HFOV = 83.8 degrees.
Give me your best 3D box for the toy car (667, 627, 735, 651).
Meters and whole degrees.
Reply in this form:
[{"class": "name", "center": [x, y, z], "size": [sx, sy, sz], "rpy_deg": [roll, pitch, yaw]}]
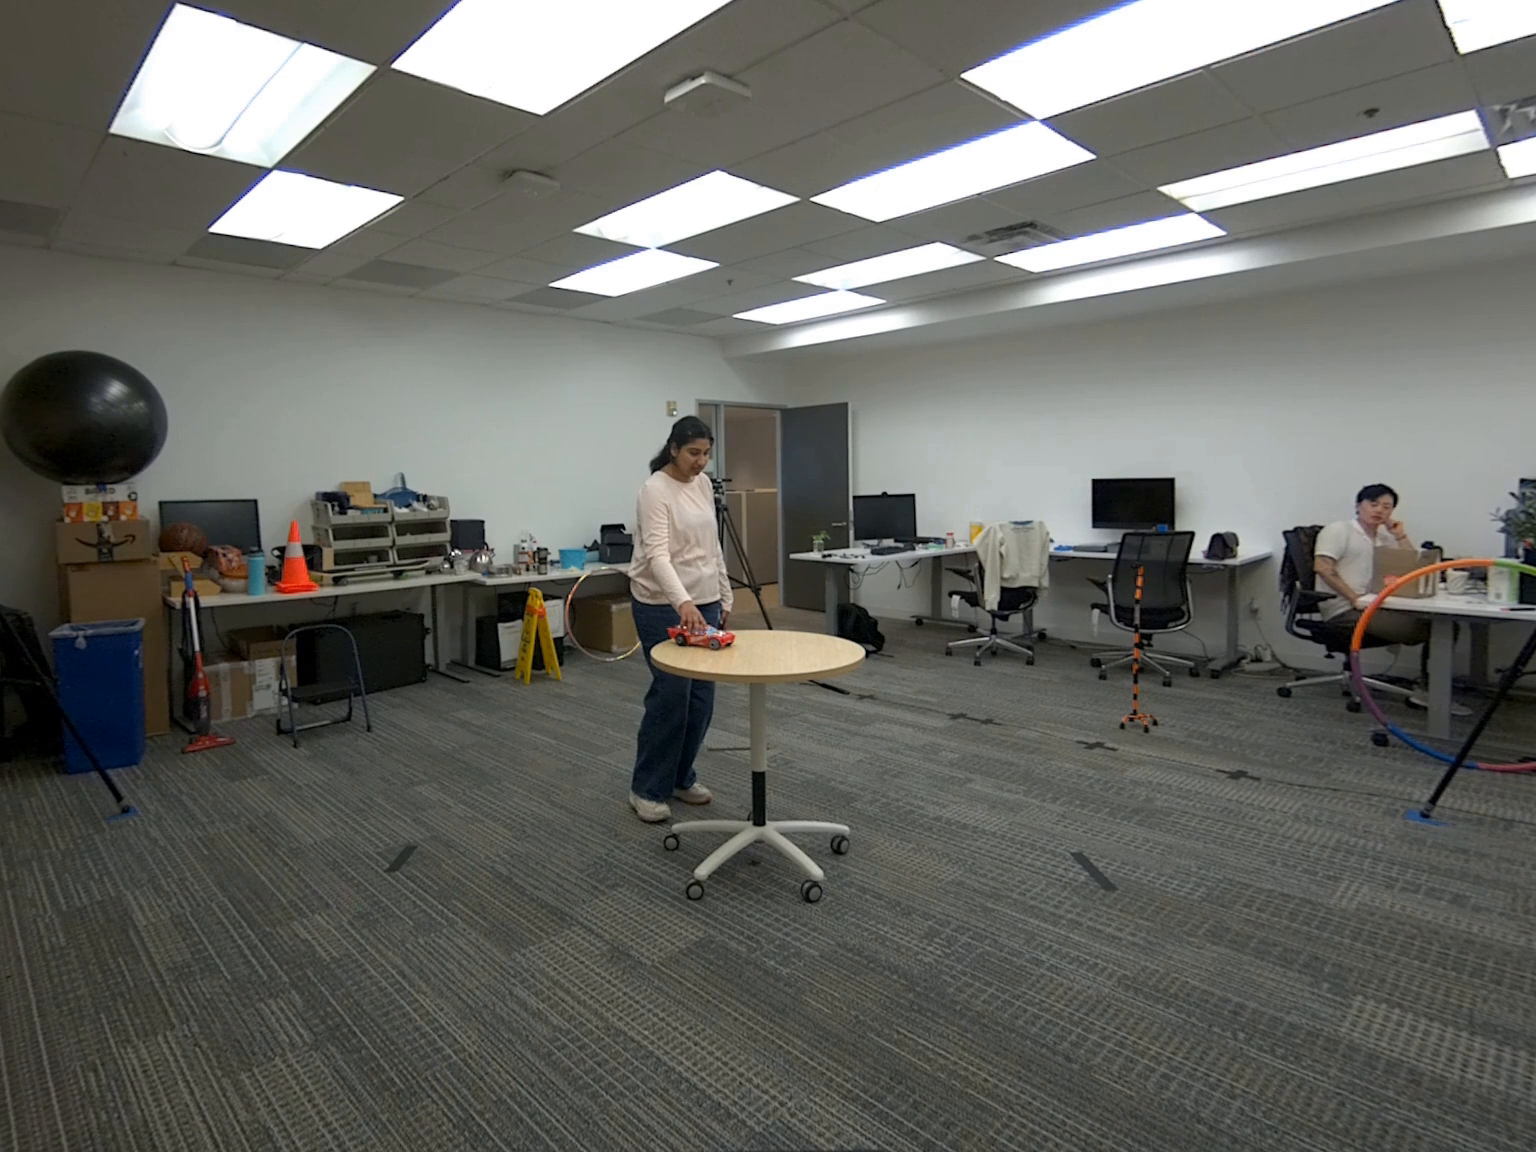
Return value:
[{"class": "toy car", "center": [-0.255, 0.226, 3.157], "size": [0.262, 0.082, 0.127], "rpy_deg": [16, 13, 28]}]
